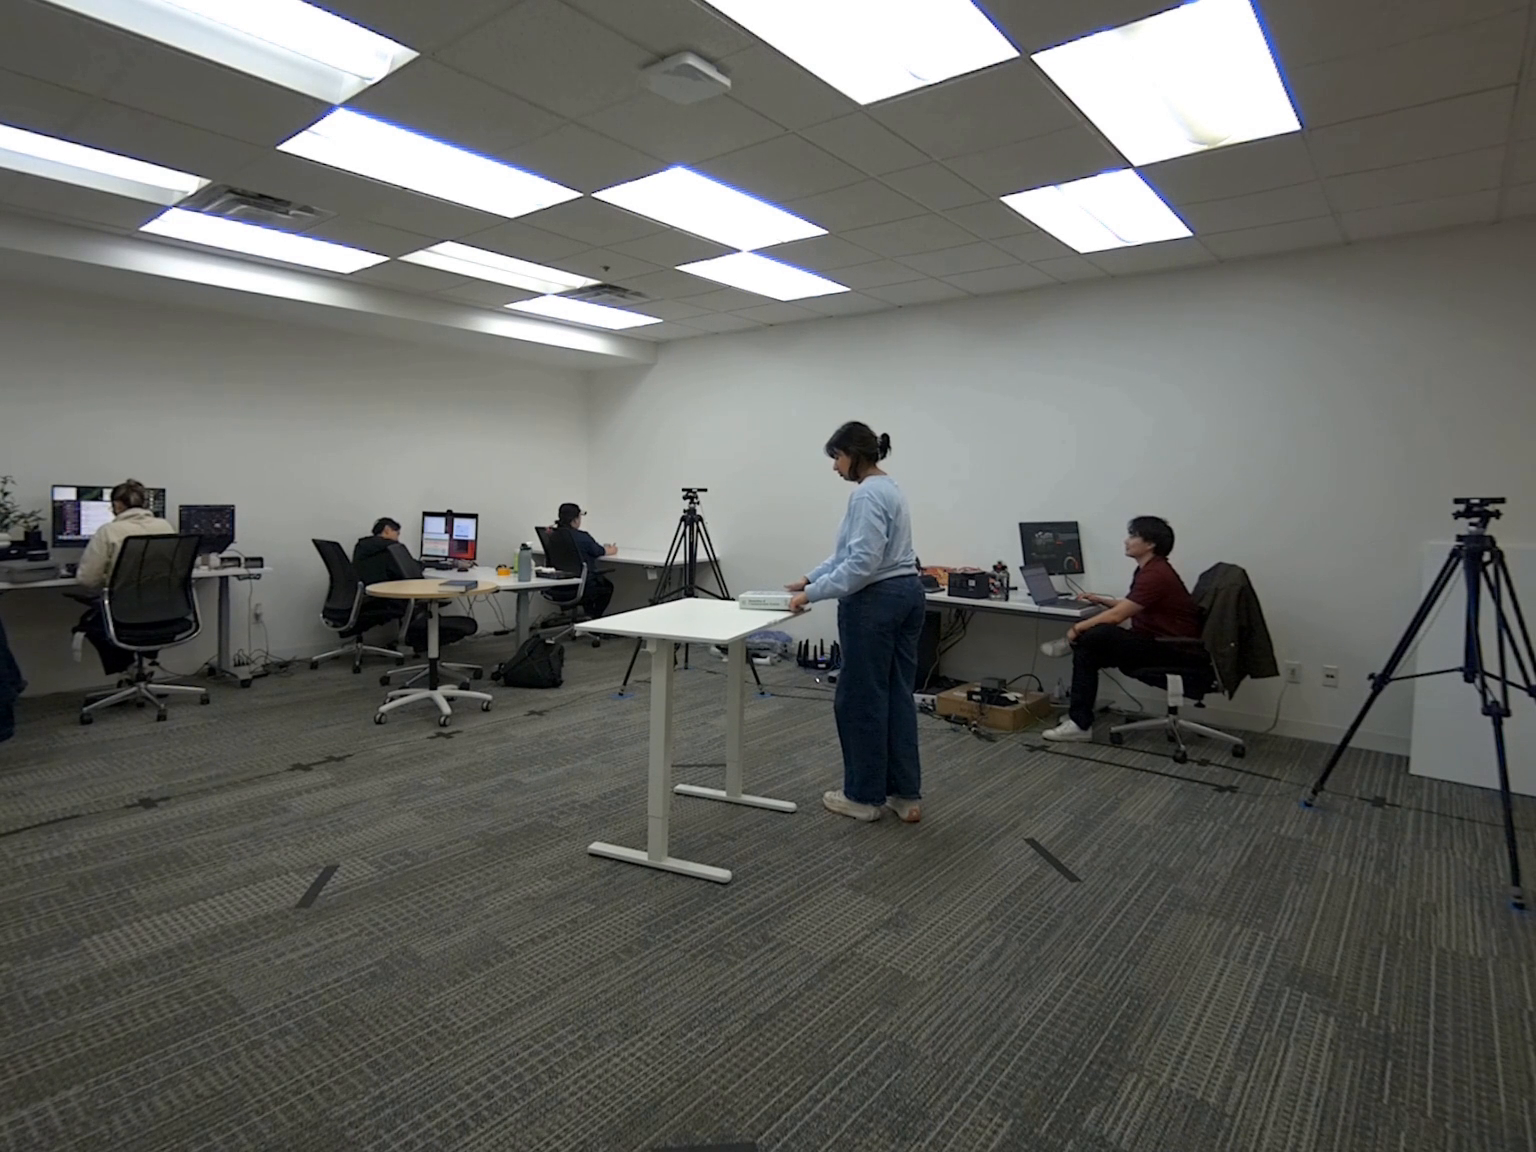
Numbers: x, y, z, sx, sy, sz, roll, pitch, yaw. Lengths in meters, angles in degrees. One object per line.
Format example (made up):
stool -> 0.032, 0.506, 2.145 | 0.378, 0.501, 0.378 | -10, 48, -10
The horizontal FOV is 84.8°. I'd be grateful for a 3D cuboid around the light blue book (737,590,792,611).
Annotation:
light blue book -> 0.010, 0.100, 3.732 | 0.265, 0.059, 0.189 | 1, 6, 13
